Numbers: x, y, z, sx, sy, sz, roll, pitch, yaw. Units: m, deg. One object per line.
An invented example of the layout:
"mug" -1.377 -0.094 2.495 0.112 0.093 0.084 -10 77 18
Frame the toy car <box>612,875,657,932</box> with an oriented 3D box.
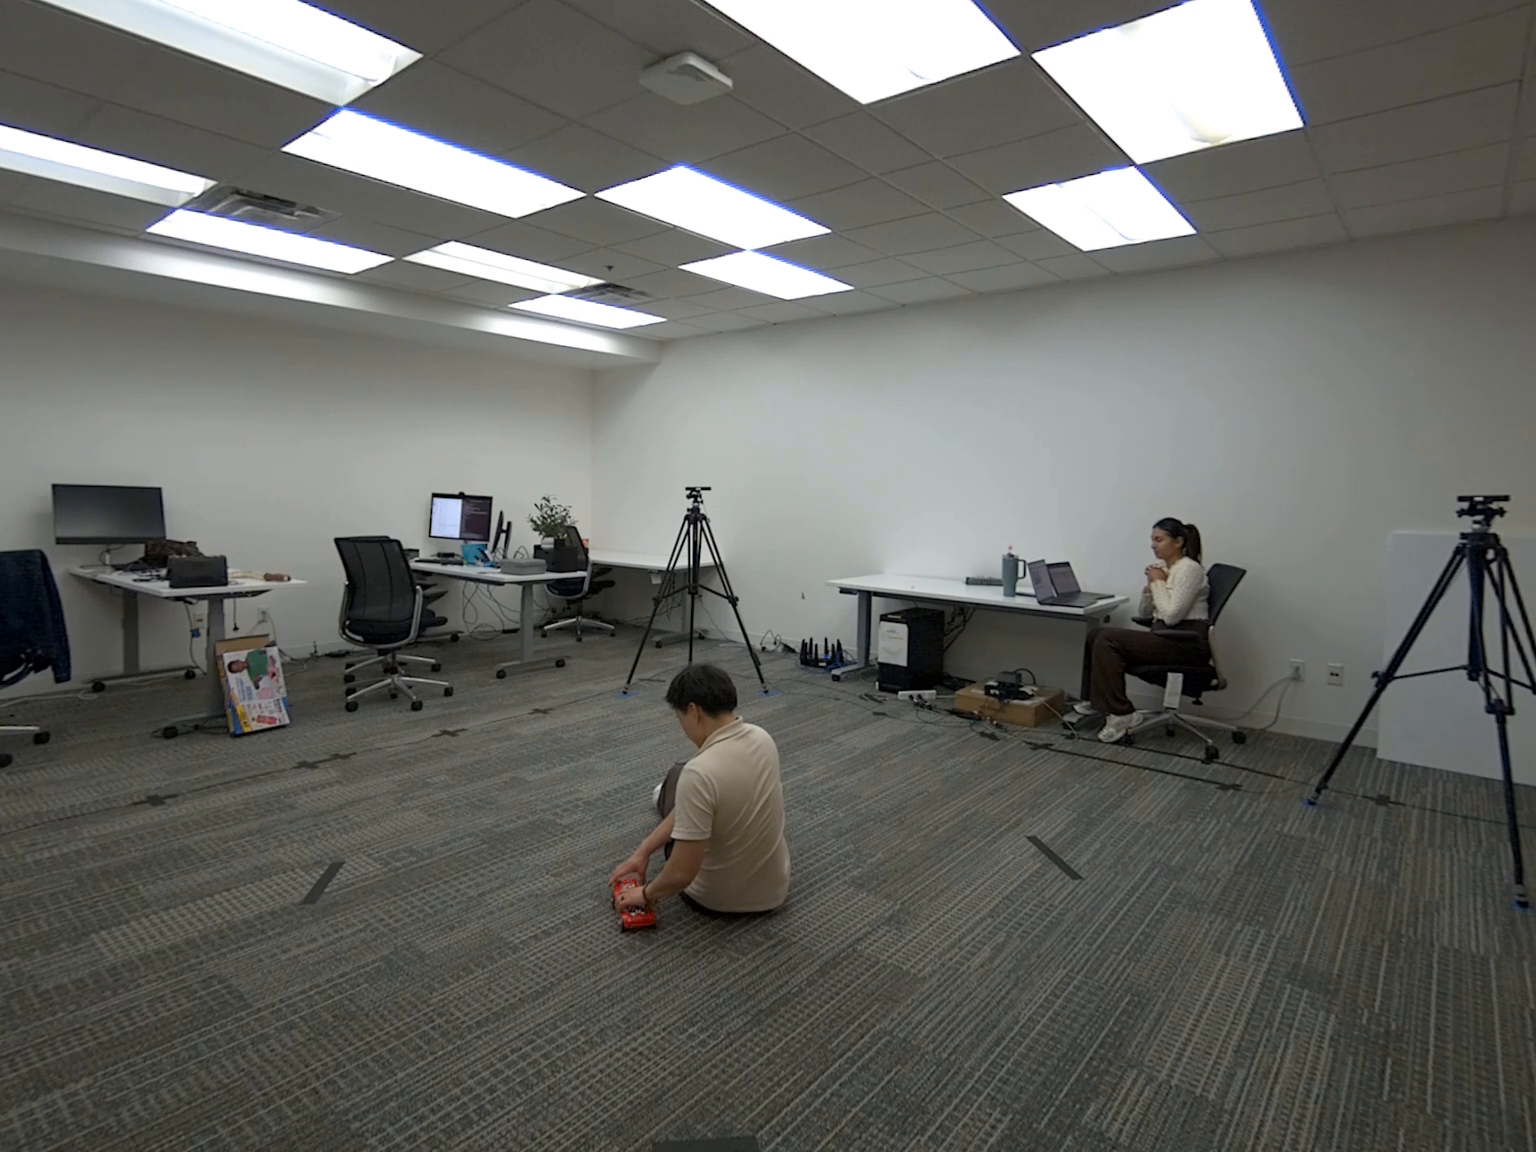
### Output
"toy car" -0.452 1.059 2.772 0.128 0.082 0.263 -1 17 -19
